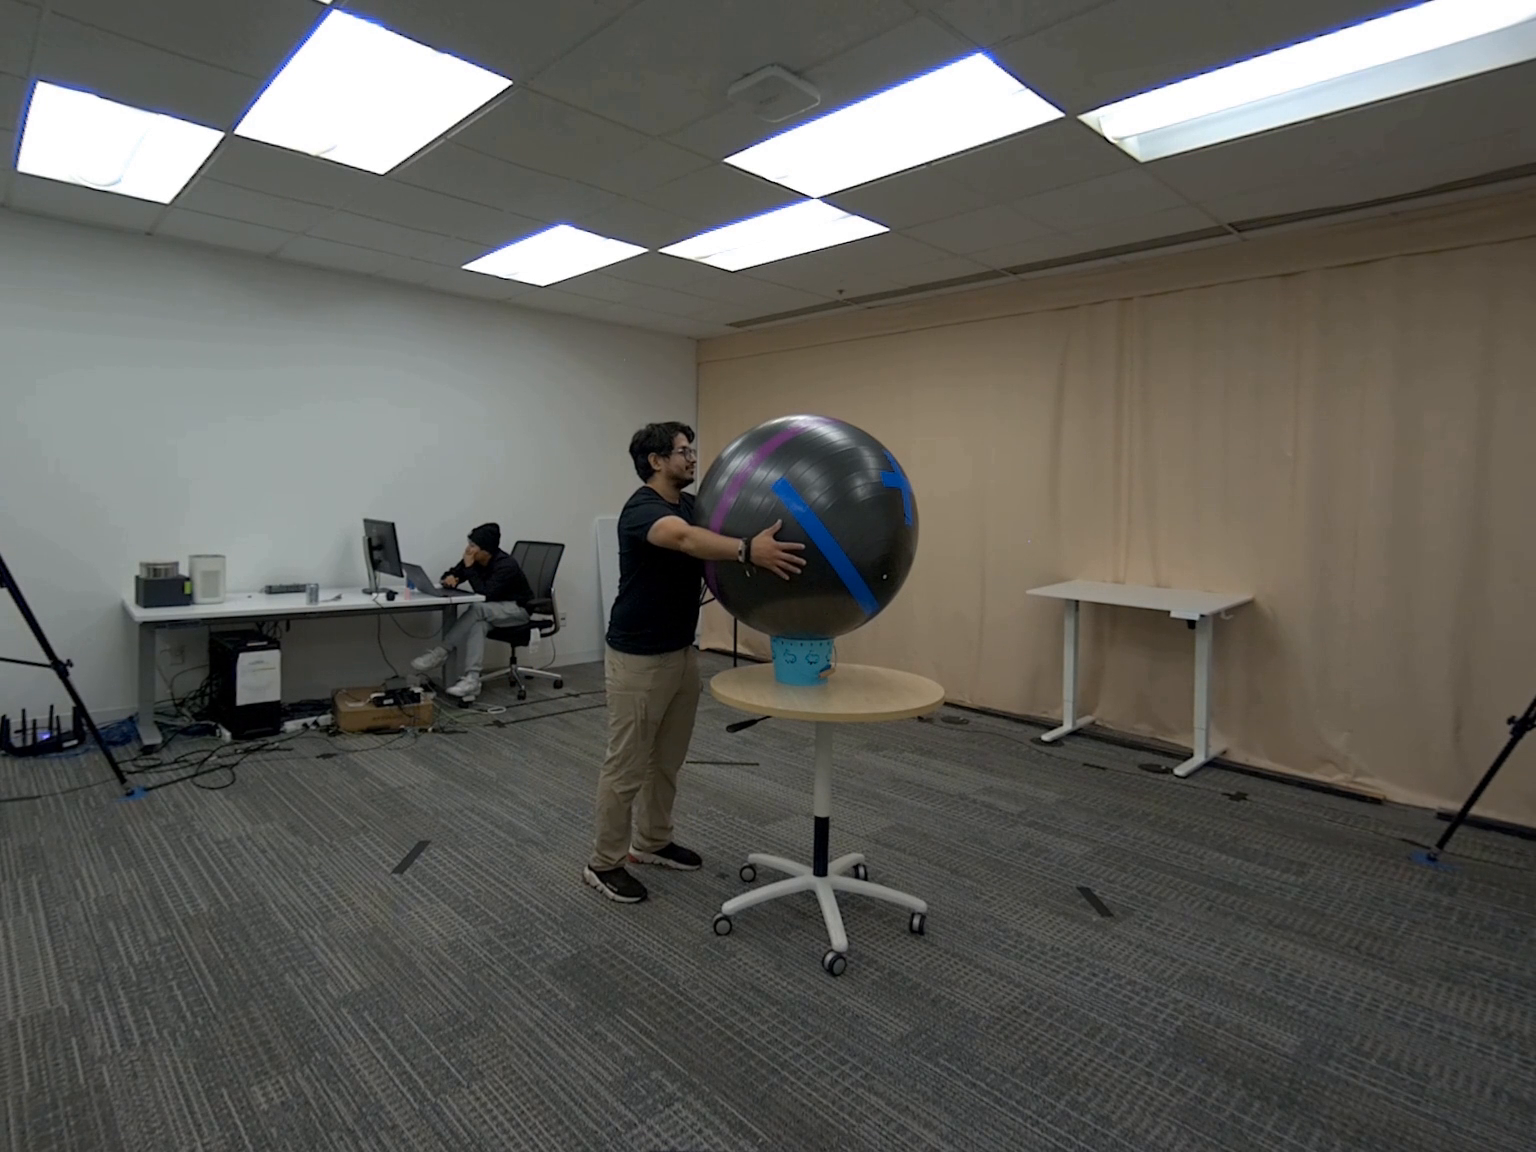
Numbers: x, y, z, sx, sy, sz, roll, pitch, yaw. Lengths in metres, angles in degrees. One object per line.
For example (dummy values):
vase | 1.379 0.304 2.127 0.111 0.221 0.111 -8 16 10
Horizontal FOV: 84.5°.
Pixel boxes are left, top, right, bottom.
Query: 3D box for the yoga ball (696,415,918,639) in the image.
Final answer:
yoga ball | 0.122 -0.157 2.833 0.757 0.756 0.761 1 4 -1
